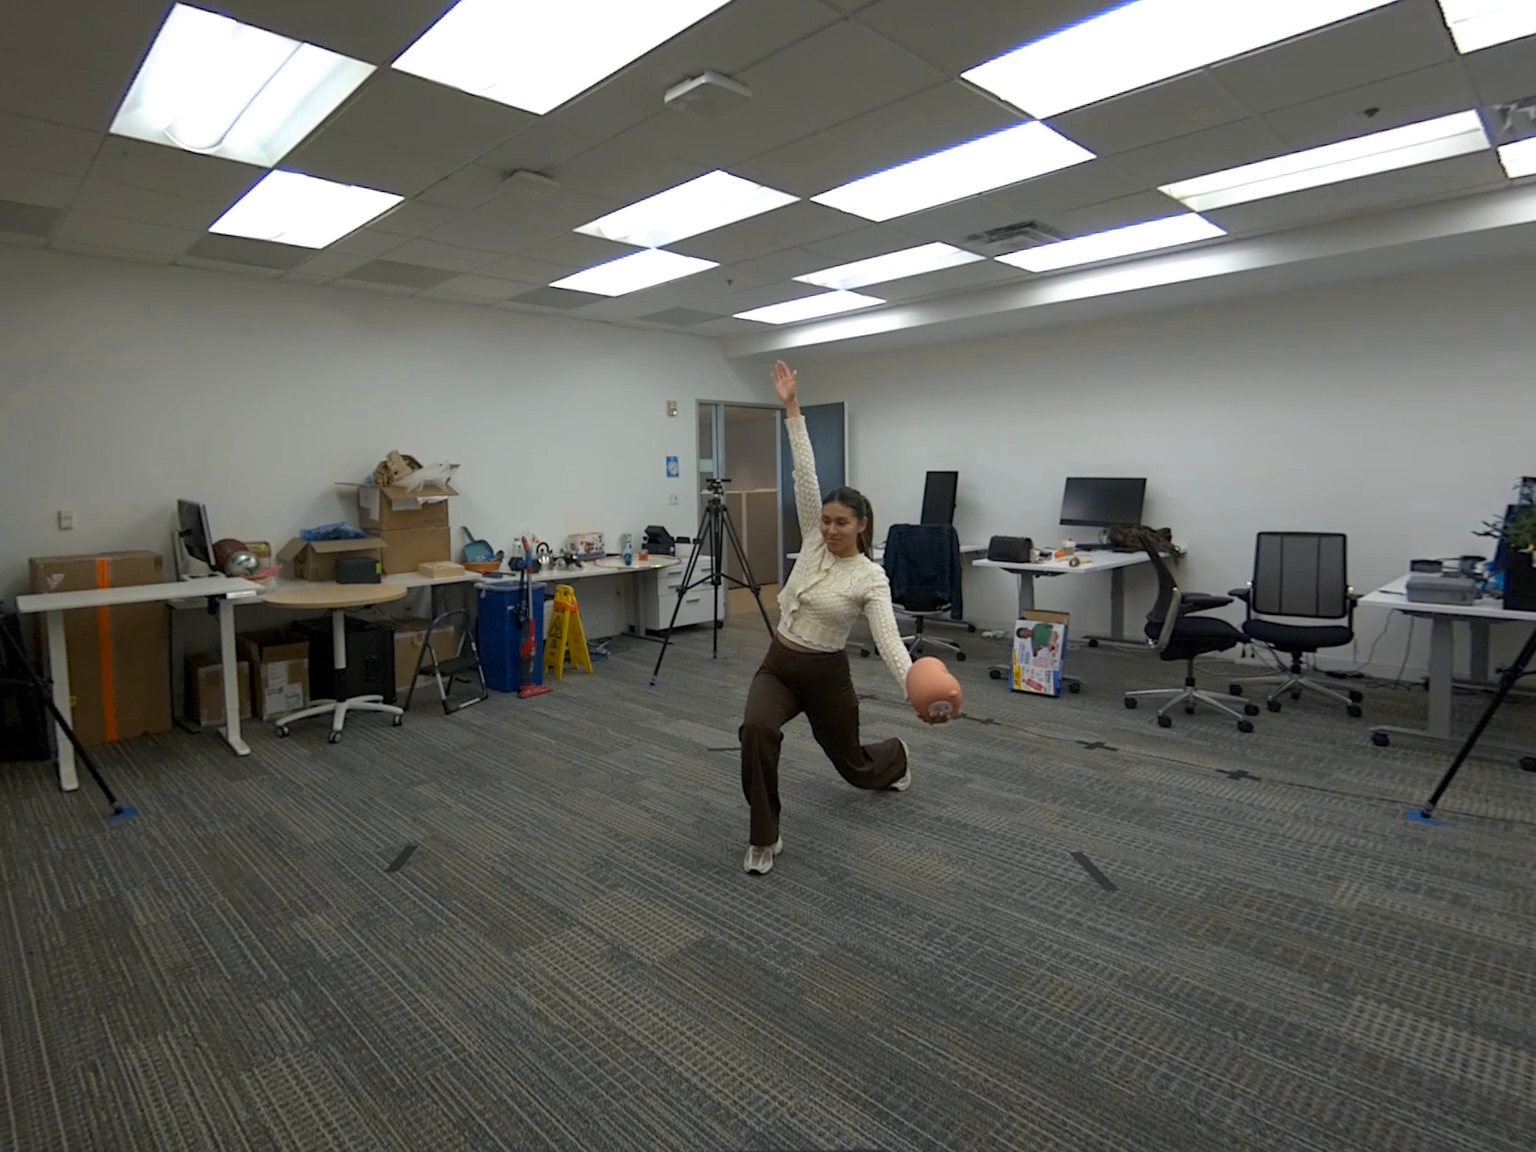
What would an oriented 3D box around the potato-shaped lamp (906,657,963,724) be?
[{"bbox_3d":[0.544,0.365,2.834,0.173,0.159,0.203,-12,41,11],"label":"potato-shaped lamp"}]
